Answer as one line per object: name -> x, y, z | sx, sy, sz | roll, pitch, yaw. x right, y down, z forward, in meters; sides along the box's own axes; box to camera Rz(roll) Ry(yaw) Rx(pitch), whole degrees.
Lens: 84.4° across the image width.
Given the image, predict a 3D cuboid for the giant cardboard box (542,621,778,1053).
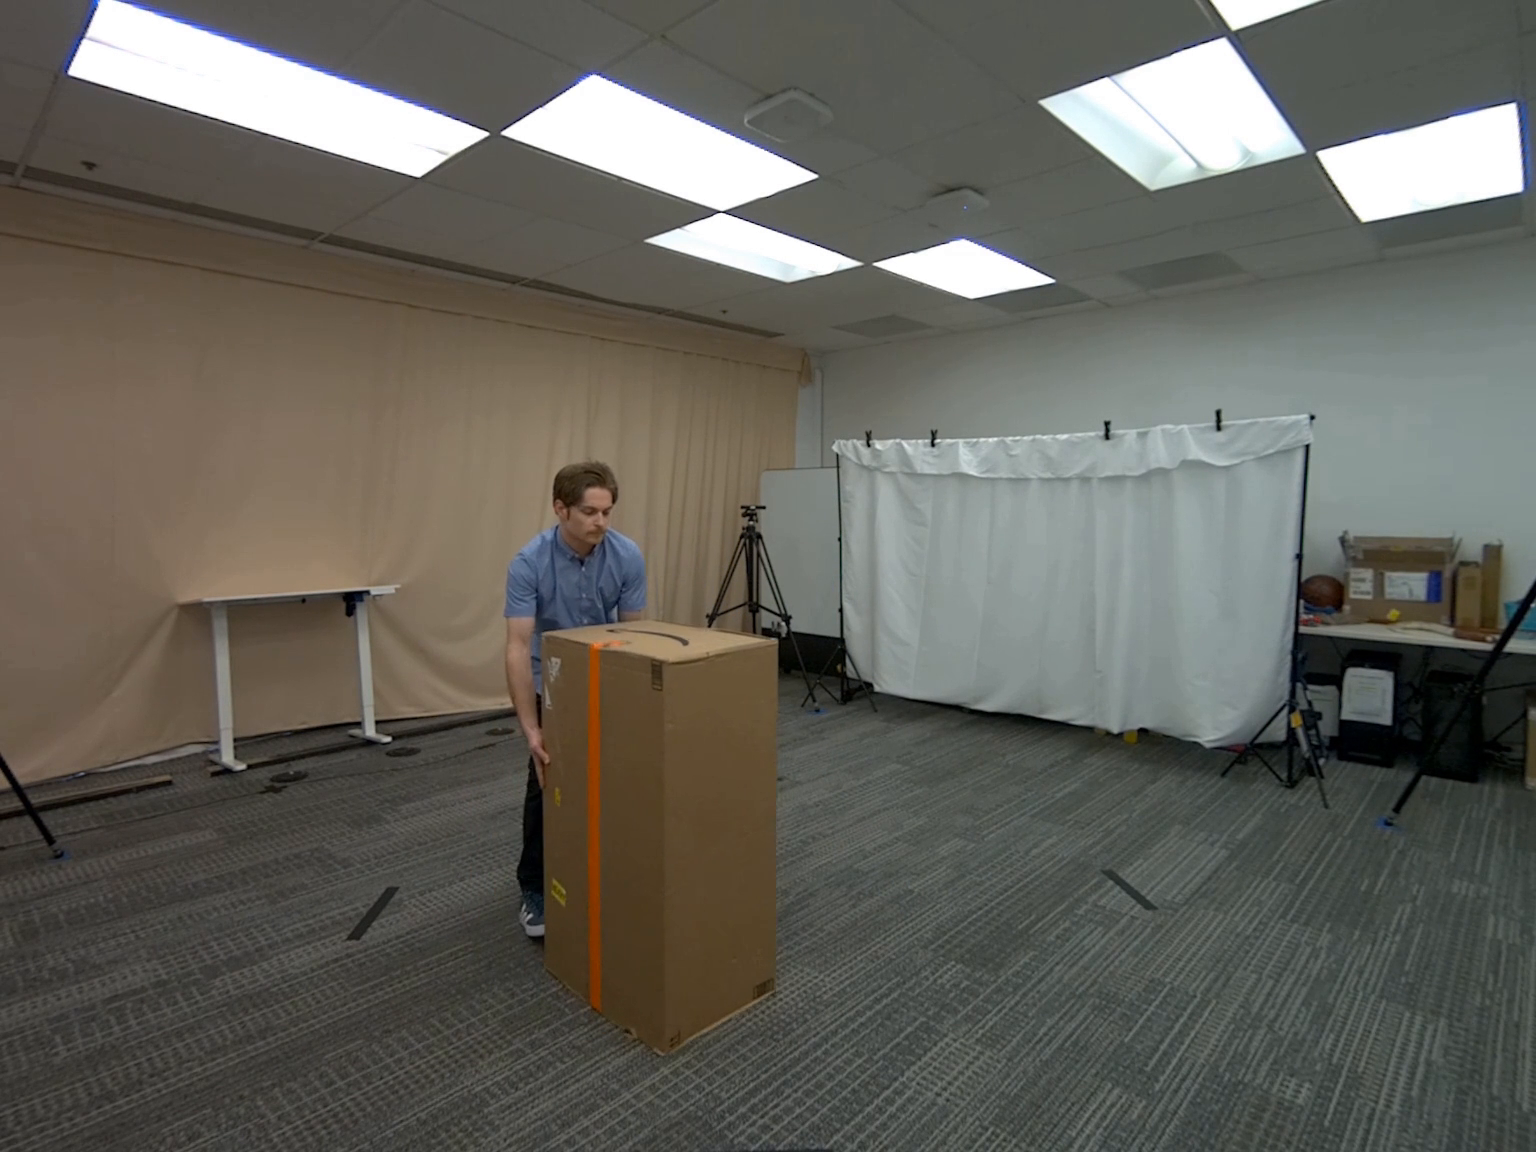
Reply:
giant cardboard box -> -0.317, 0.684, 2.440 | 0.413, 1.023, 0.597 | -3, 5, -45
